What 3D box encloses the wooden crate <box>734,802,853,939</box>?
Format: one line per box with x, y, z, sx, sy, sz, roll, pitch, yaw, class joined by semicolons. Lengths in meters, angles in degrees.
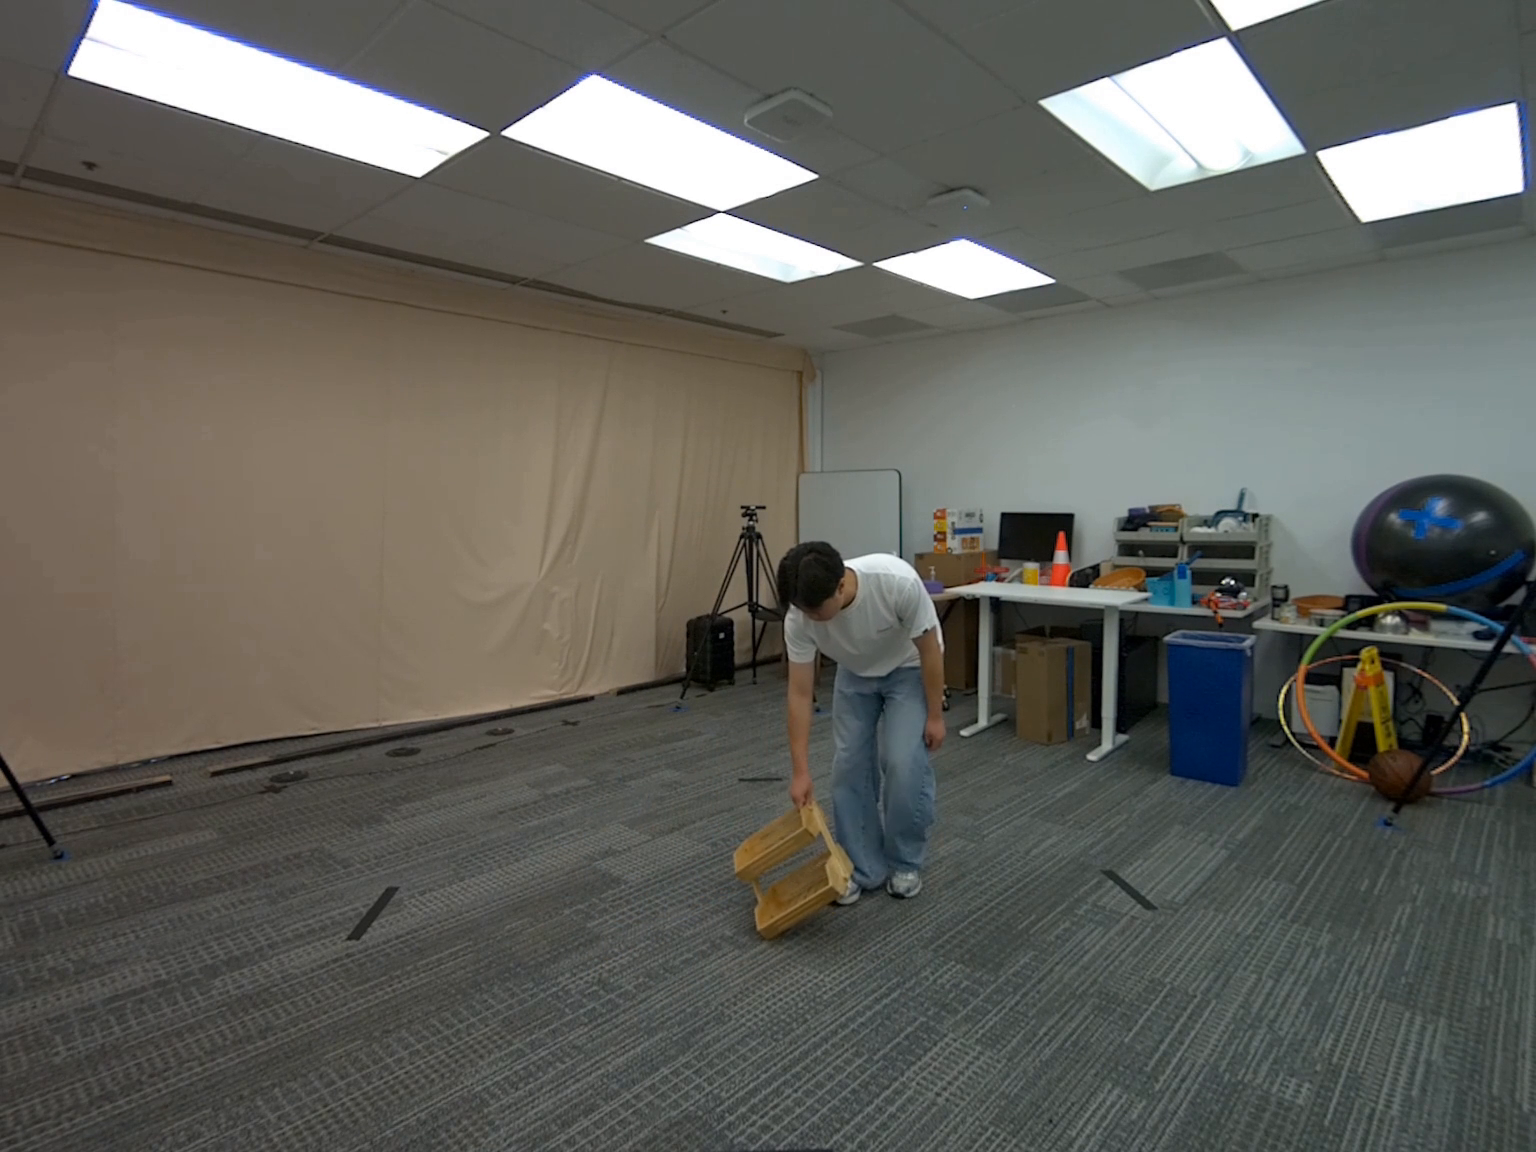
0.076;0.966;2.785;0.326;0.276;0.297;-37;-6;13;wooden crate
